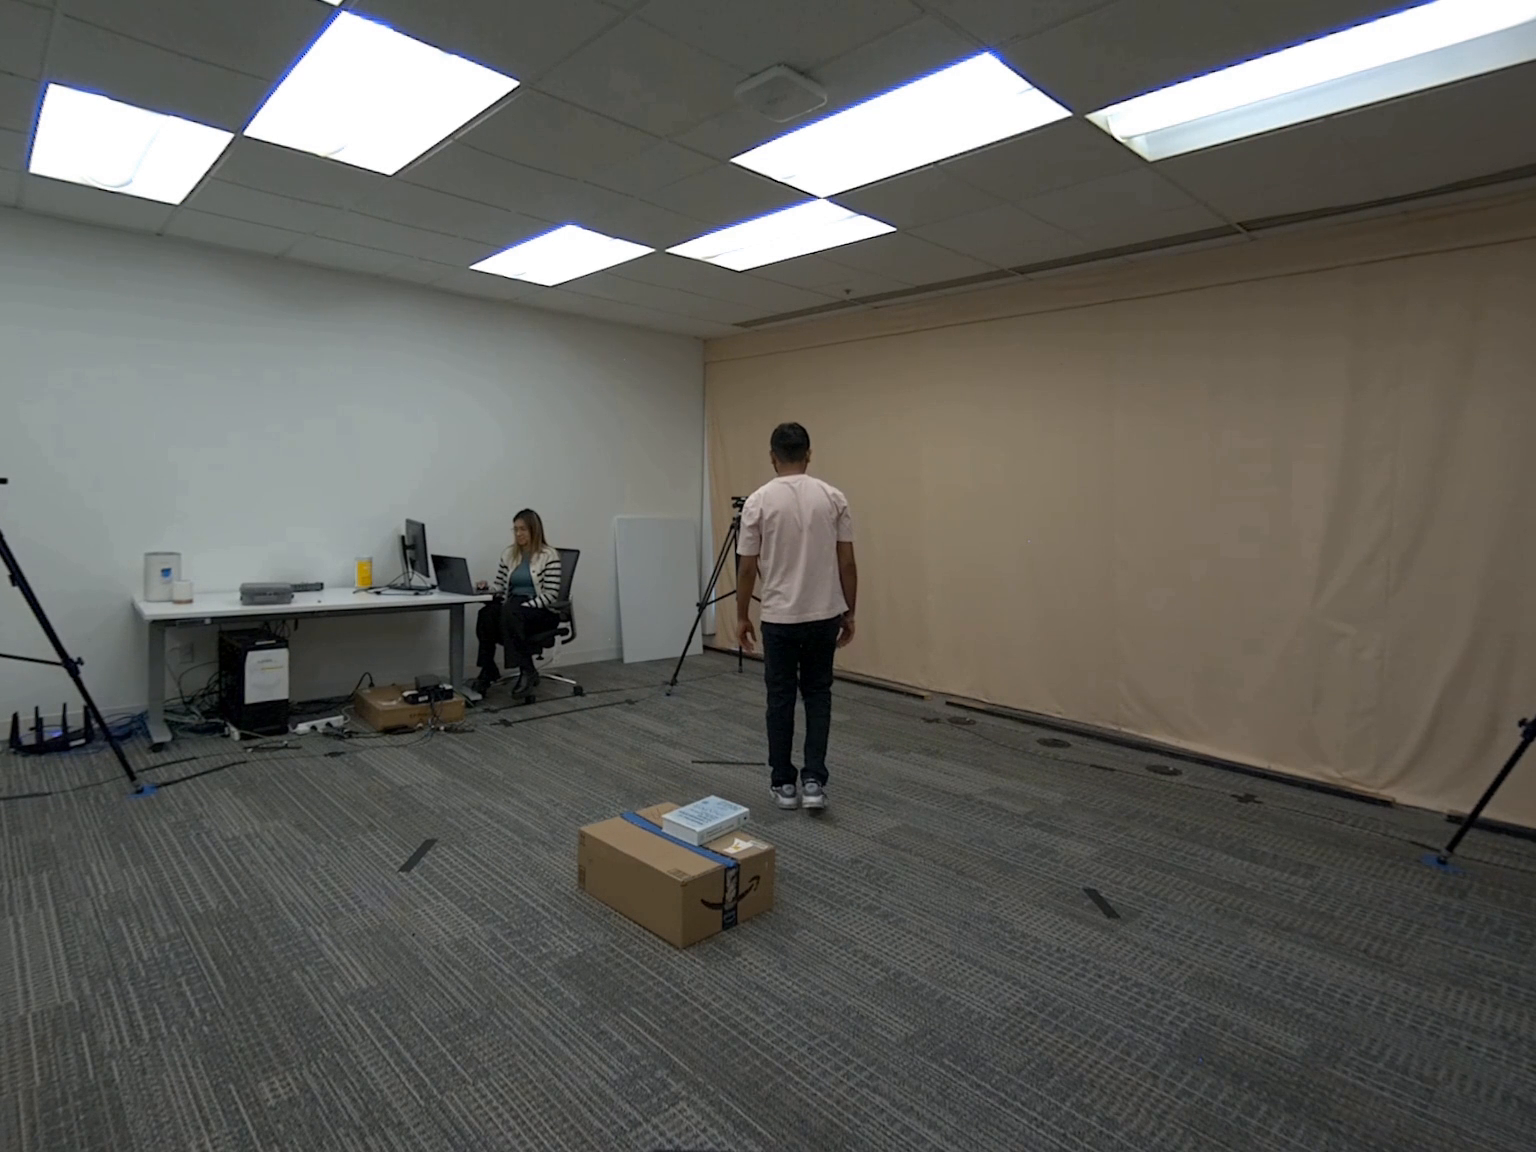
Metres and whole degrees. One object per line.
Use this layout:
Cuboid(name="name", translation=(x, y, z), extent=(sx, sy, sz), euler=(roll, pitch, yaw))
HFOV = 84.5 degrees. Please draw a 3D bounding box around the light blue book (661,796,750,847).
Cuboid(name="light blue book", translation=(-0.227, 0.871, 3.005), extent=(0.196, 0.059, 0.255), euler=(5, 9, 42))
